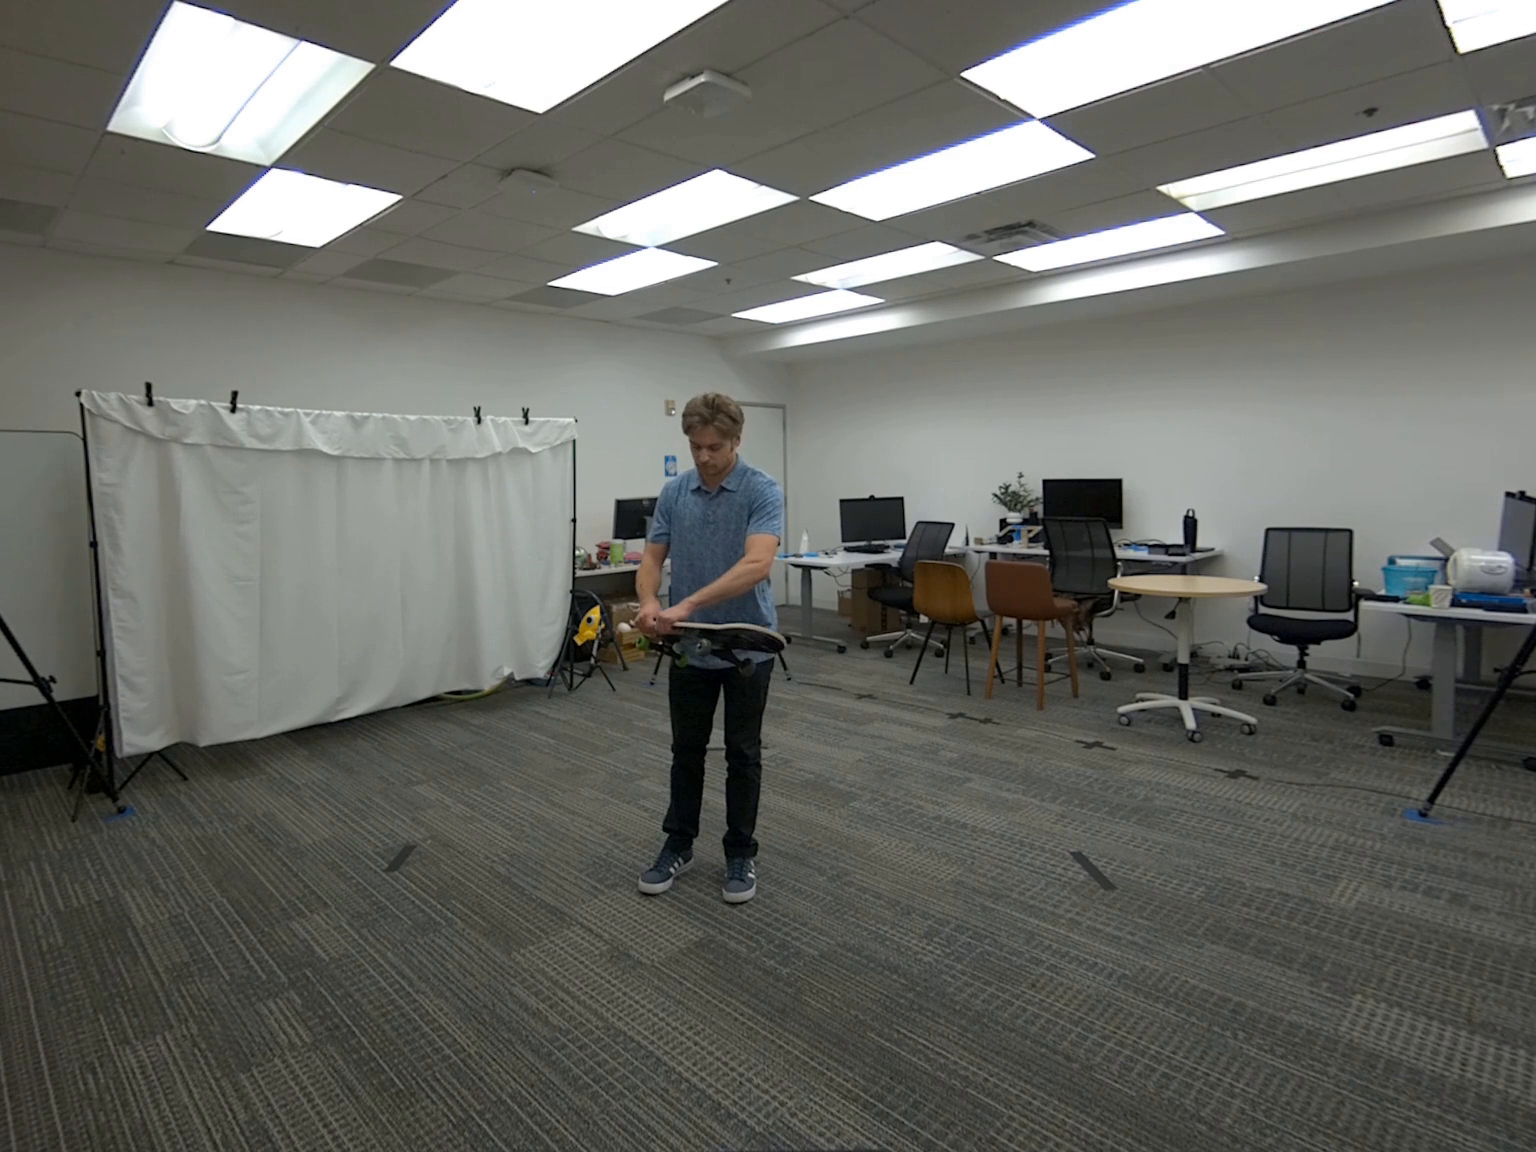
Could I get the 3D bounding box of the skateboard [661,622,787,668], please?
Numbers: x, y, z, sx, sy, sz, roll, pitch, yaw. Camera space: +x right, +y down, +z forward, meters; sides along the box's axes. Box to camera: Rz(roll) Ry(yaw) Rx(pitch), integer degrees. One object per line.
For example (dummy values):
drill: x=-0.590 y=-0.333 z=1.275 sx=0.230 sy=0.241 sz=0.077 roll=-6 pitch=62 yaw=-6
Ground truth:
skateboard: x=-0.237 y=0.218 z=2.589 sx=0.187 sy=0.111 sz=0.805 roll=31 pitch=-19 yaw=-30
